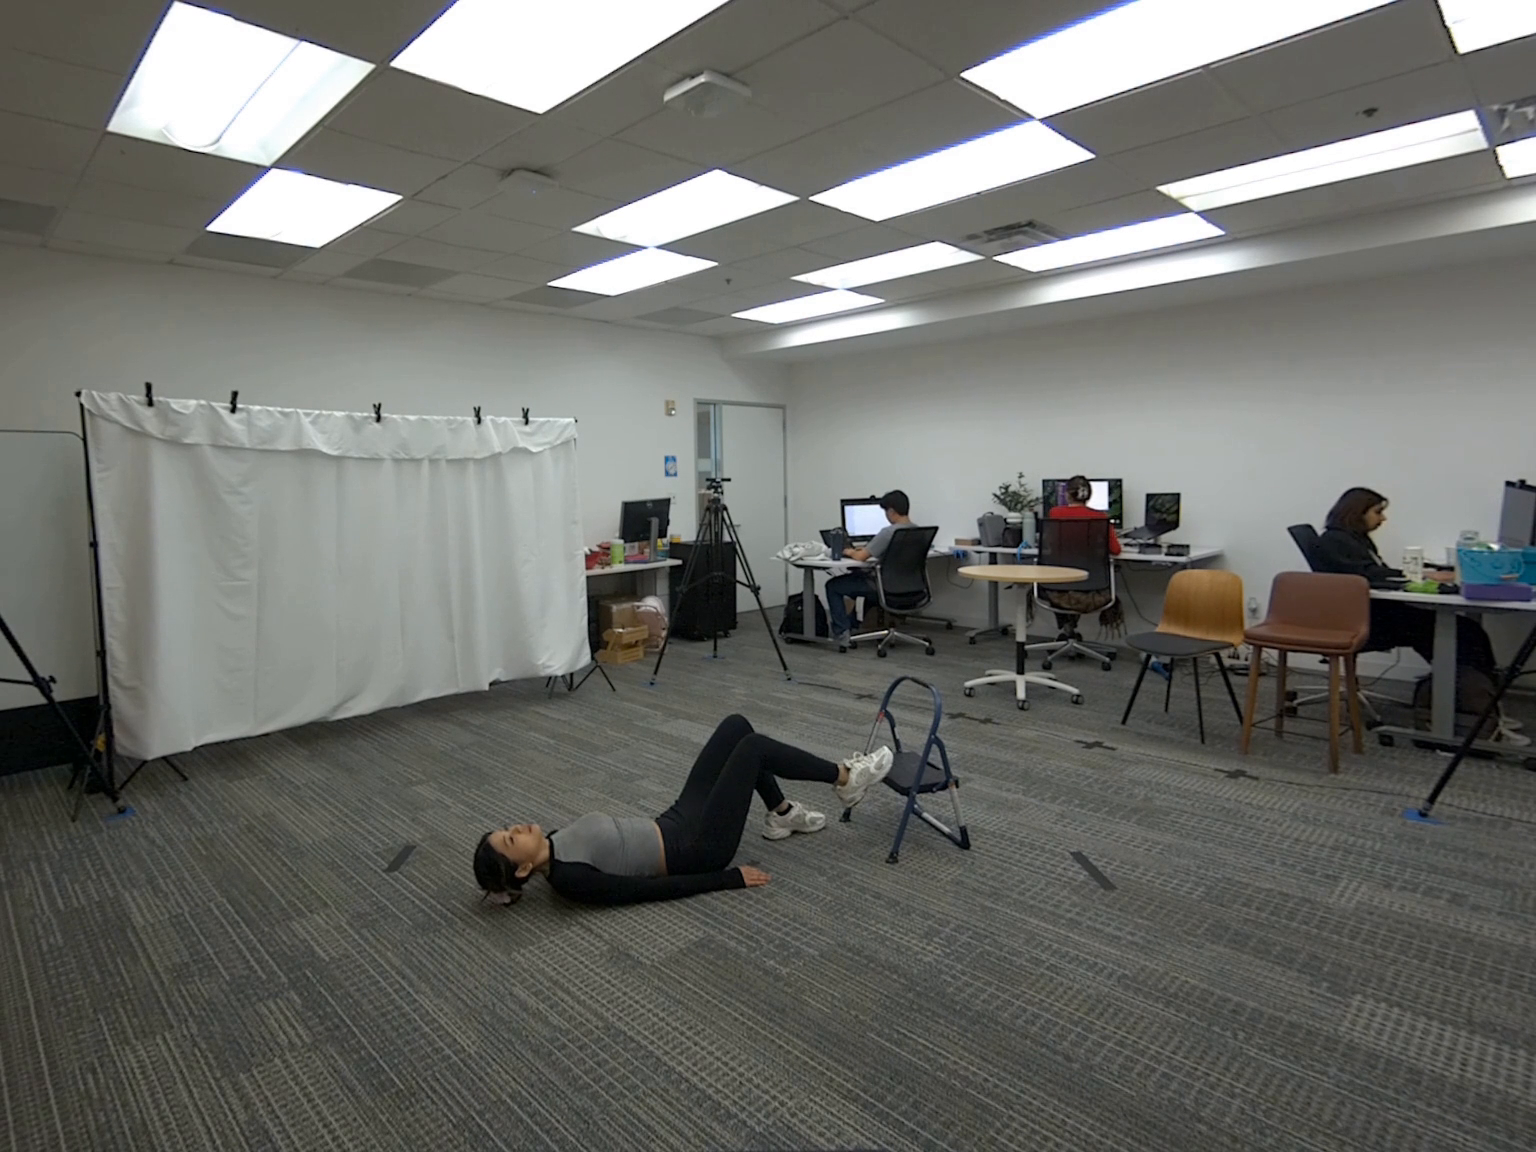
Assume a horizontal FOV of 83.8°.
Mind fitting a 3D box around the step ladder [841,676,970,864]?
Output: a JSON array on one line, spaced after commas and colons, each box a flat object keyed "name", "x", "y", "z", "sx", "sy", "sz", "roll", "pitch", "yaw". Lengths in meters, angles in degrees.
[{"name": "step ladder", "x": 0.523, "y": 0.709, "z": 3.316, "sx": 0.343, "sy": 0.604, "sz": 0.440, "roll": -3, "pitch": 5, "yaw": -19}]
